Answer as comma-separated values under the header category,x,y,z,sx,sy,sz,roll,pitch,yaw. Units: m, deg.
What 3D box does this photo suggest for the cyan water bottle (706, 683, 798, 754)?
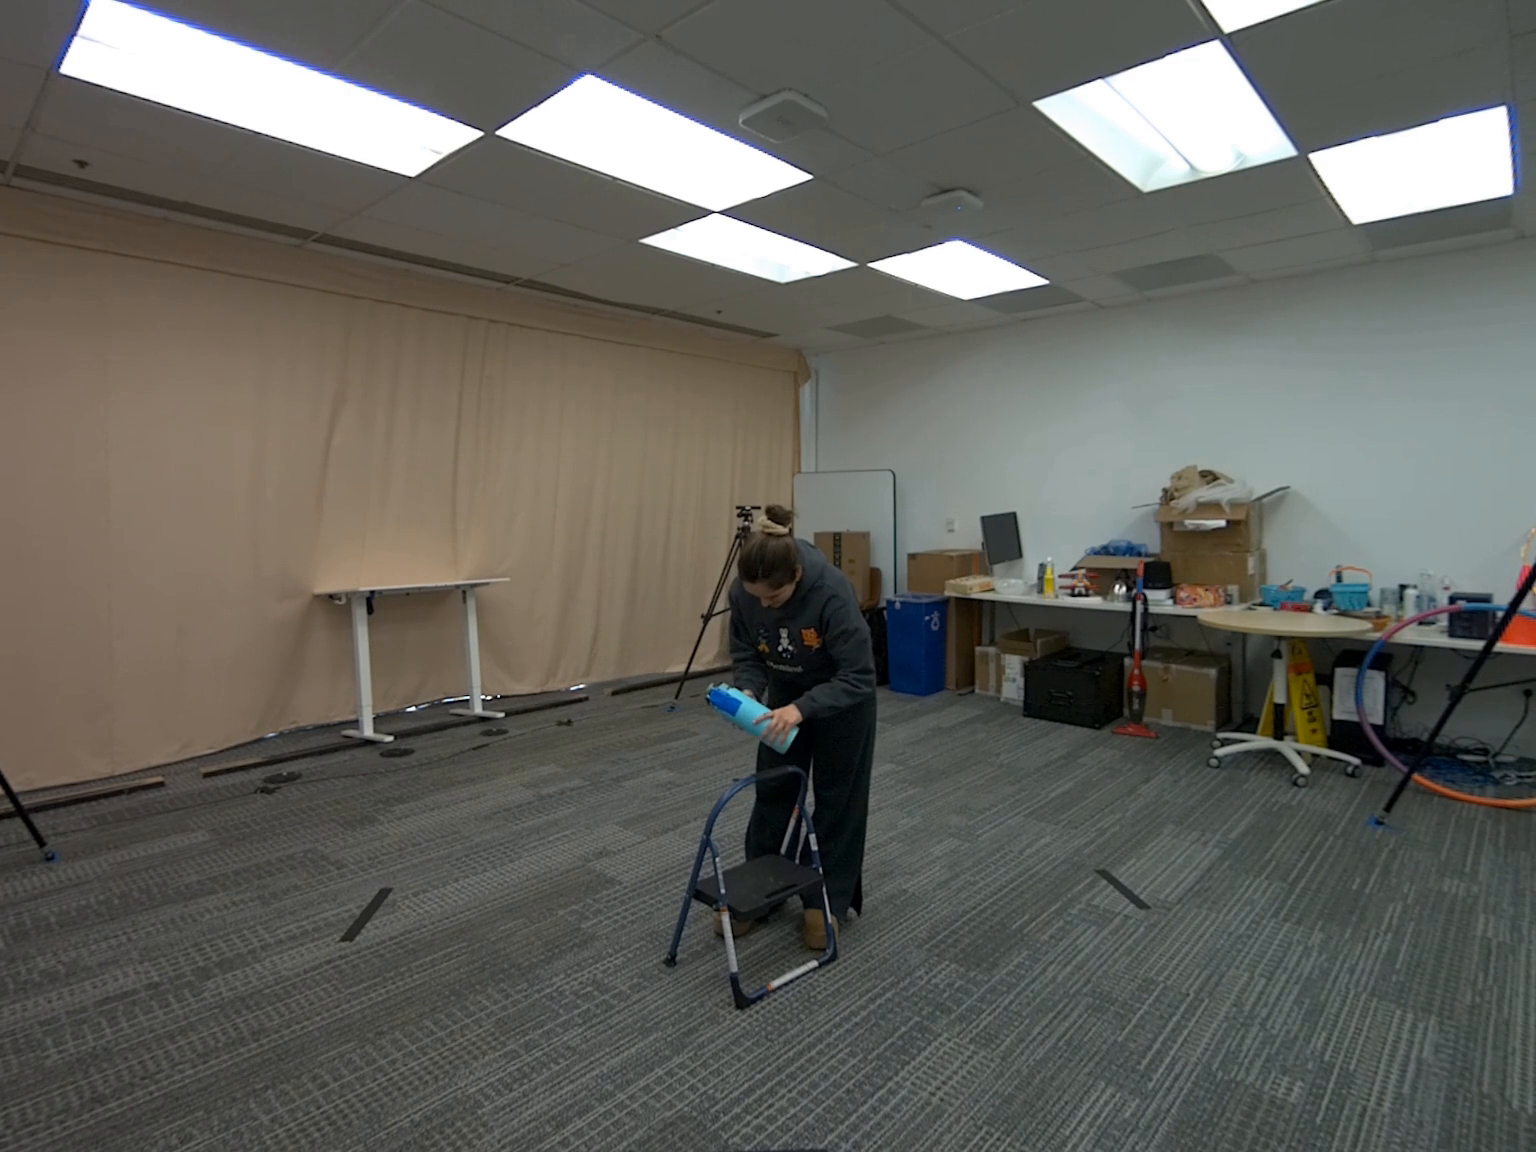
category,x,y,z,sx,sy,sz,roll,pitch,yaw
cyan water bottle,-0.054,0.408,2.443,0.286,0.092,0.091,30,8,8
